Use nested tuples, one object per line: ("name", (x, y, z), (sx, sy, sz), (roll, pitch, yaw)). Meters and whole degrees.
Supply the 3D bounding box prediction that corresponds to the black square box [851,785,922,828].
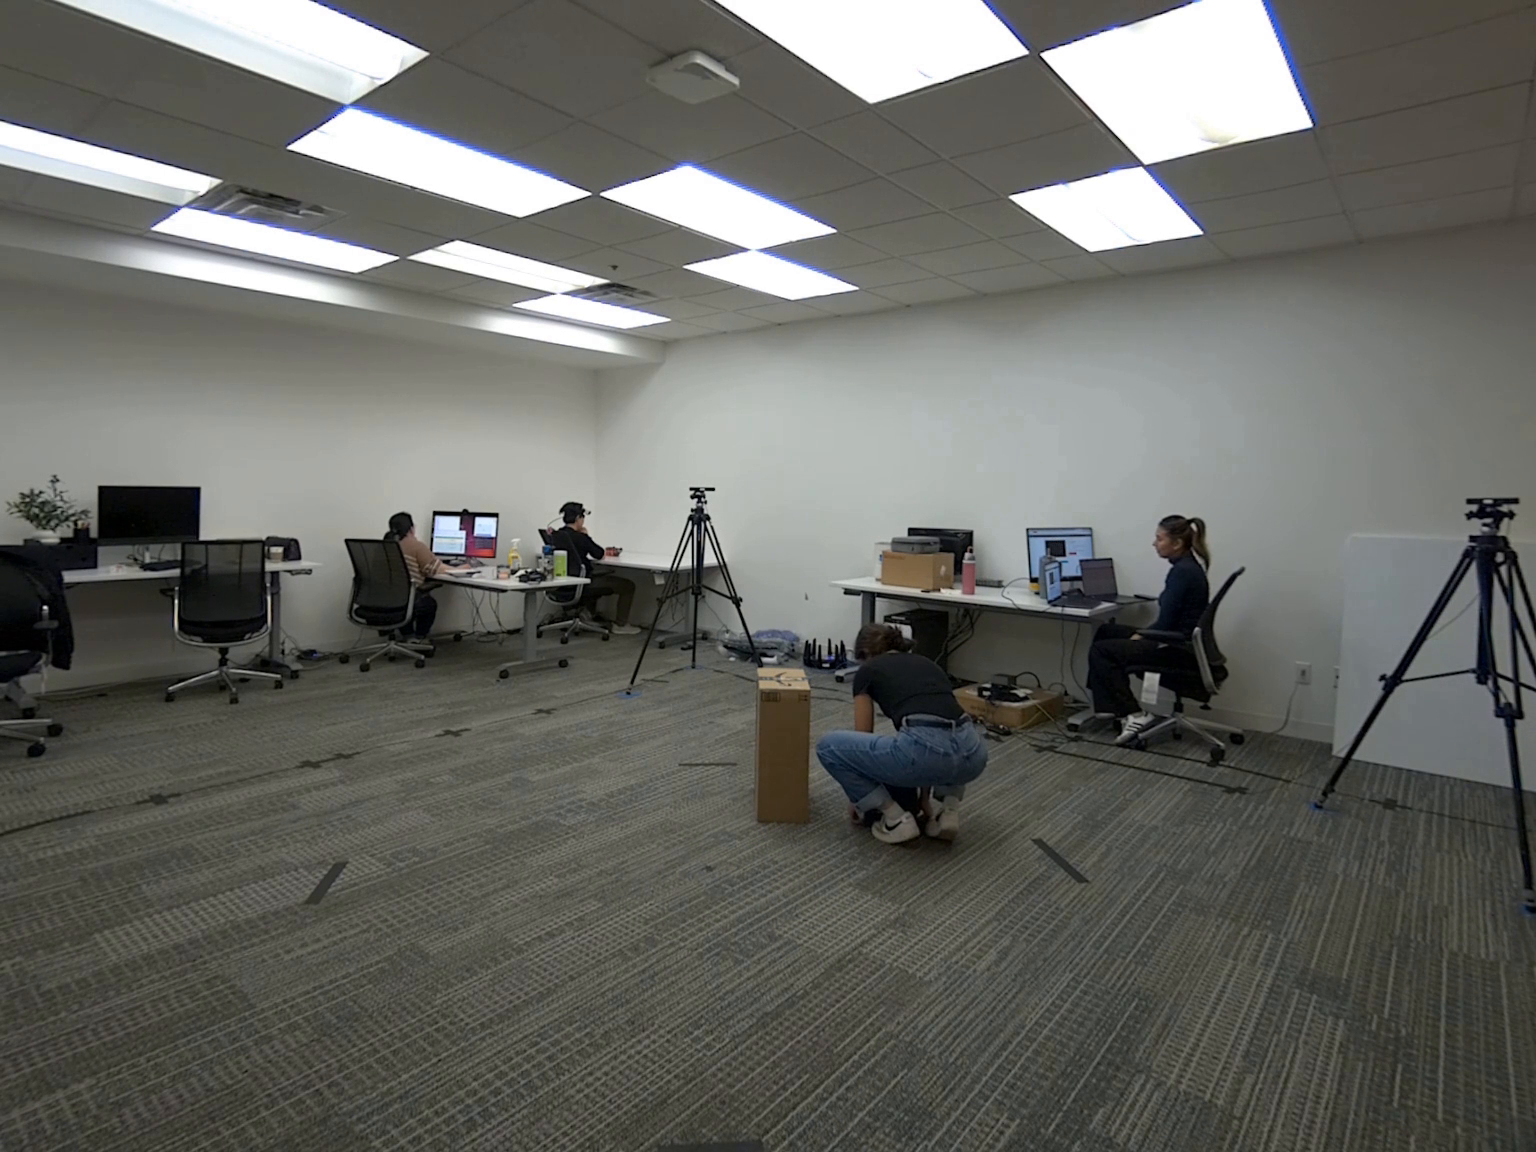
("black square box", (0.505, 0.913, 3.576), (0.219, 0.227, 0.154), (2, 2, 9))
